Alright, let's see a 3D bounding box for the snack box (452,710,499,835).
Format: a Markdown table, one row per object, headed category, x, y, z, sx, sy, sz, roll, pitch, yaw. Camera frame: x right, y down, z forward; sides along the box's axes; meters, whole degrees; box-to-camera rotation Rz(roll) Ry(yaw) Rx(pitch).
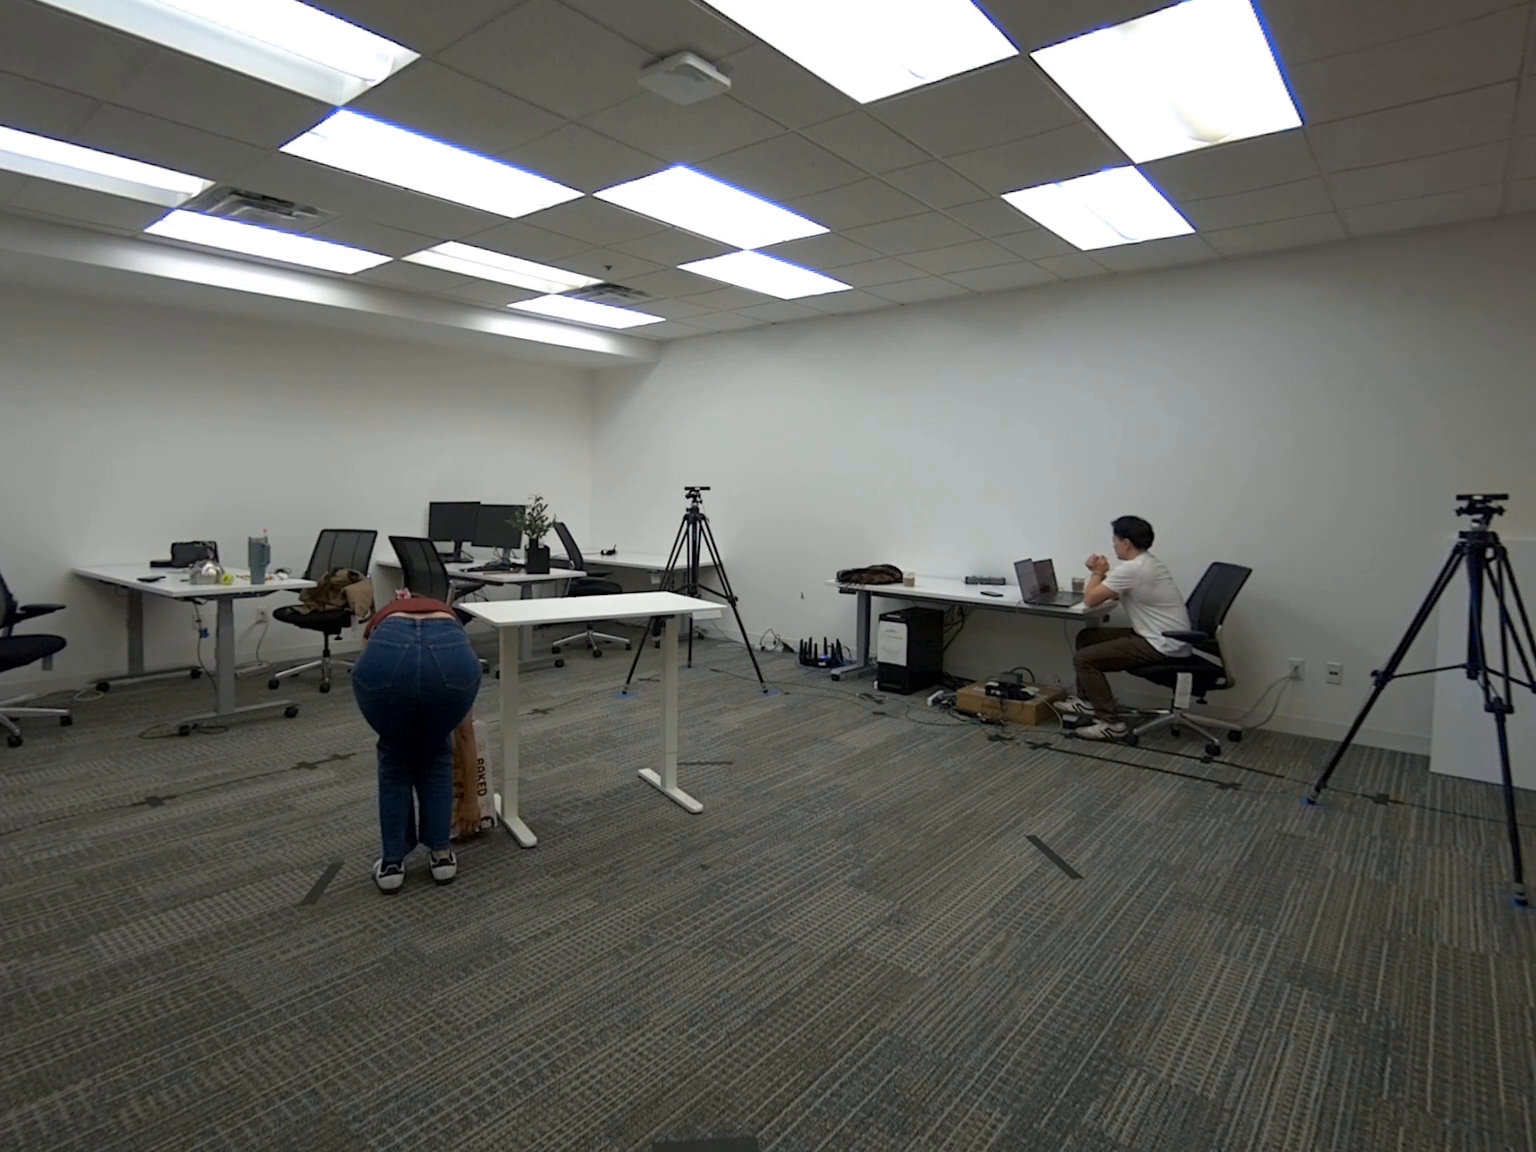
| category | x | y | z | sx | sy | sz | roll | pitch | yaw |
| --- | --- | --- | --- | --- | --- | --- | --- | --- | --- |
| snack box | -1.274 | 0.787 | 3.437 | 0.200 | 0.405 | 0.349 | -6 | 2 | -32 |
